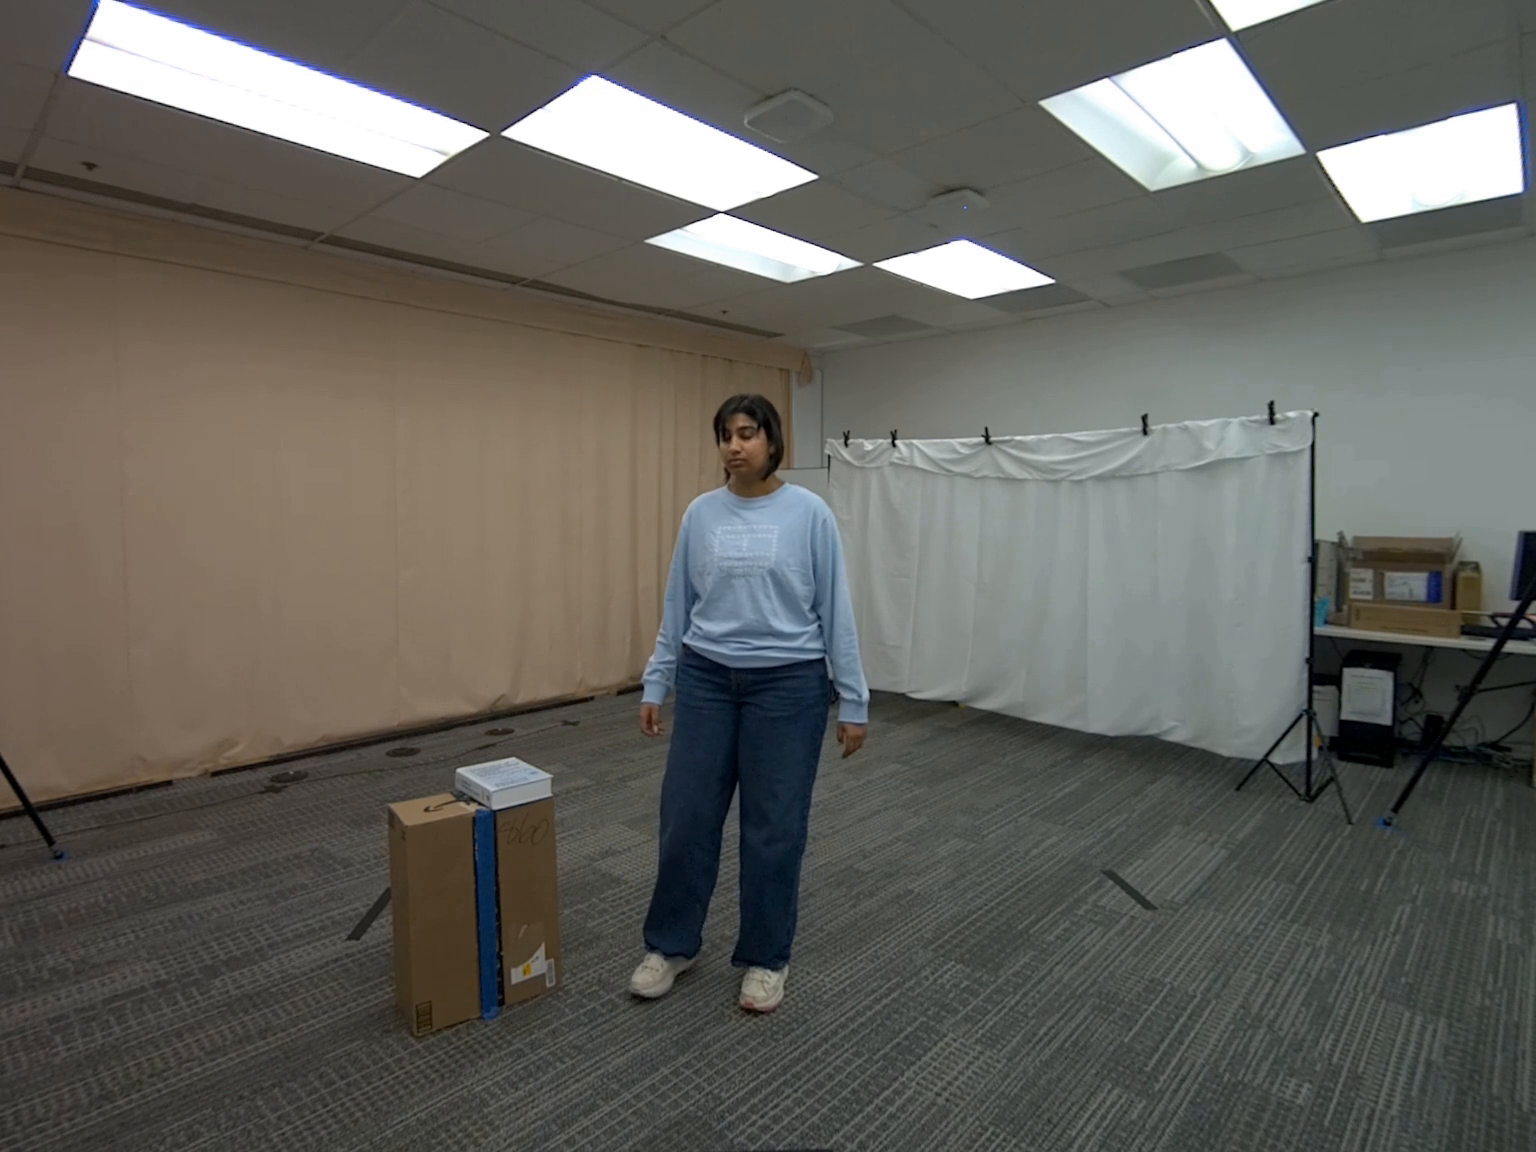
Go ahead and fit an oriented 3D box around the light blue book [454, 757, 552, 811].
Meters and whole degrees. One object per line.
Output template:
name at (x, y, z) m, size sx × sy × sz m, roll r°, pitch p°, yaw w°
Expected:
light blue book at (-0.768, 0.599, 2.461) m, size 0.185 × 0.059 × 0.269 m, roll -4°, pitch 5°, yaw -40°
